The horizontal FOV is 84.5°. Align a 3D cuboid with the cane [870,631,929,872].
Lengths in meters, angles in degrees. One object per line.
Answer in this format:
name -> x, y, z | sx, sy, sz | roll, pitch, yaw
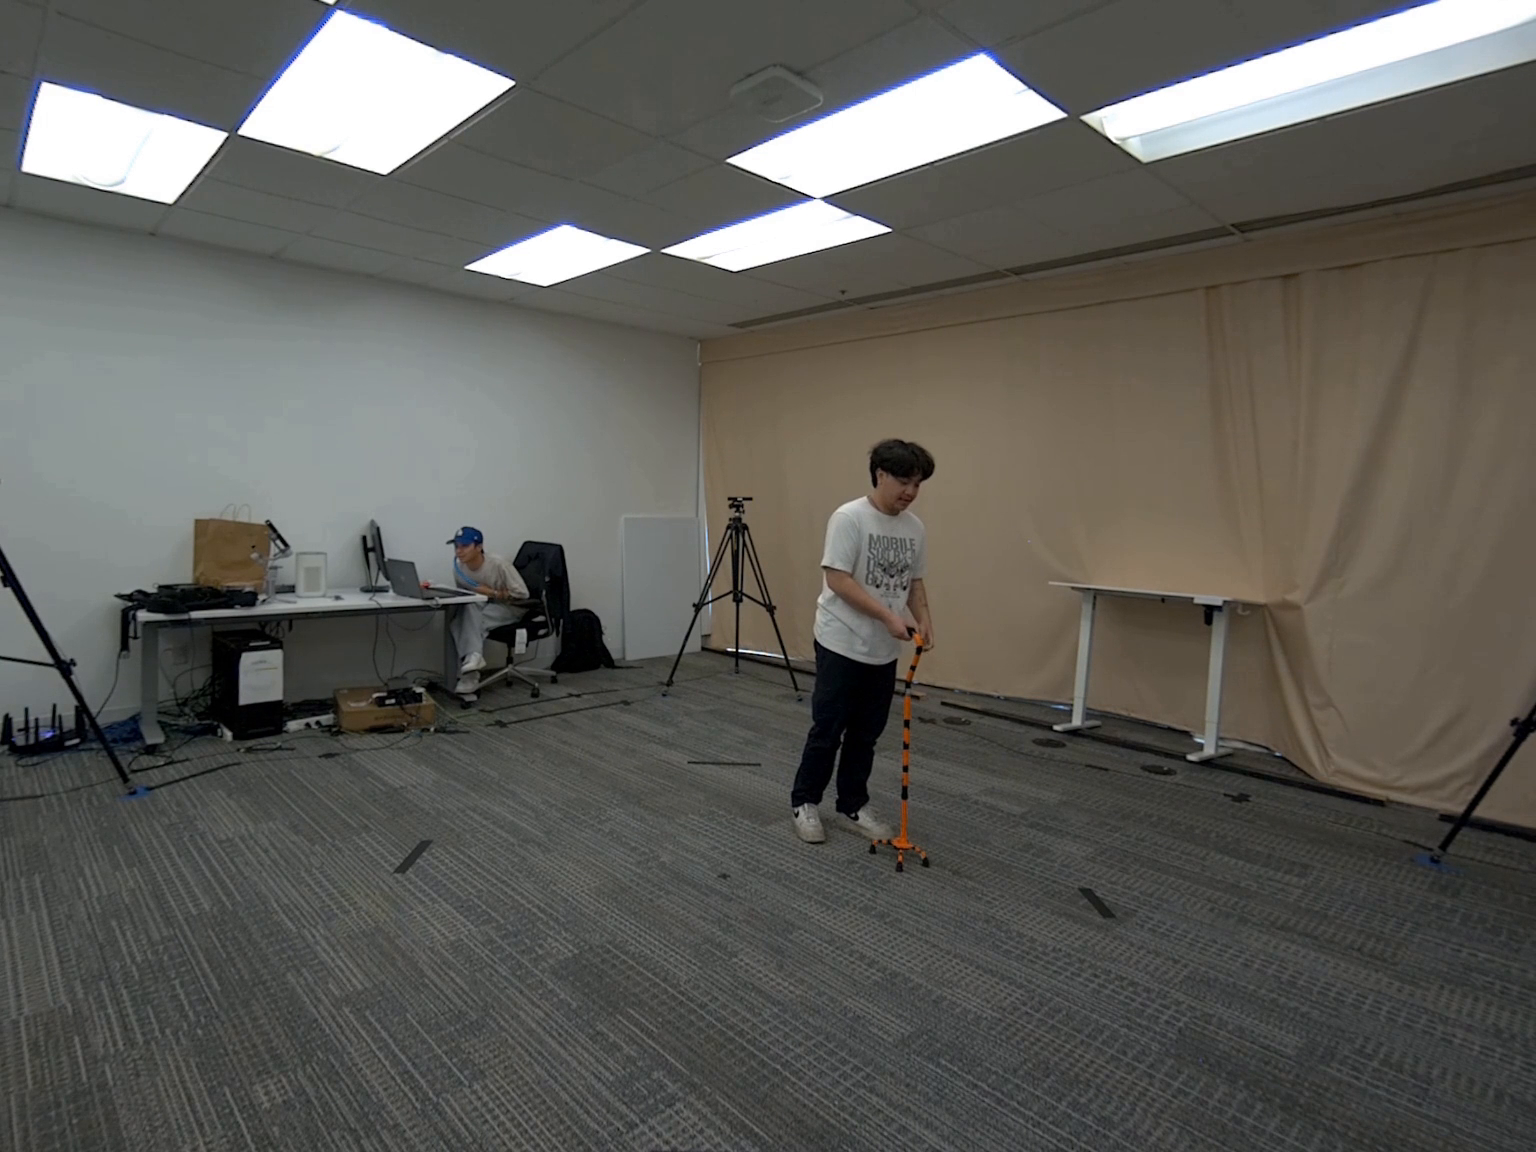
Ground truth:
cane -> 0.513, 0.655, 3.262 | 0.149, 0.905, 0.211 | 0, 4, -28
